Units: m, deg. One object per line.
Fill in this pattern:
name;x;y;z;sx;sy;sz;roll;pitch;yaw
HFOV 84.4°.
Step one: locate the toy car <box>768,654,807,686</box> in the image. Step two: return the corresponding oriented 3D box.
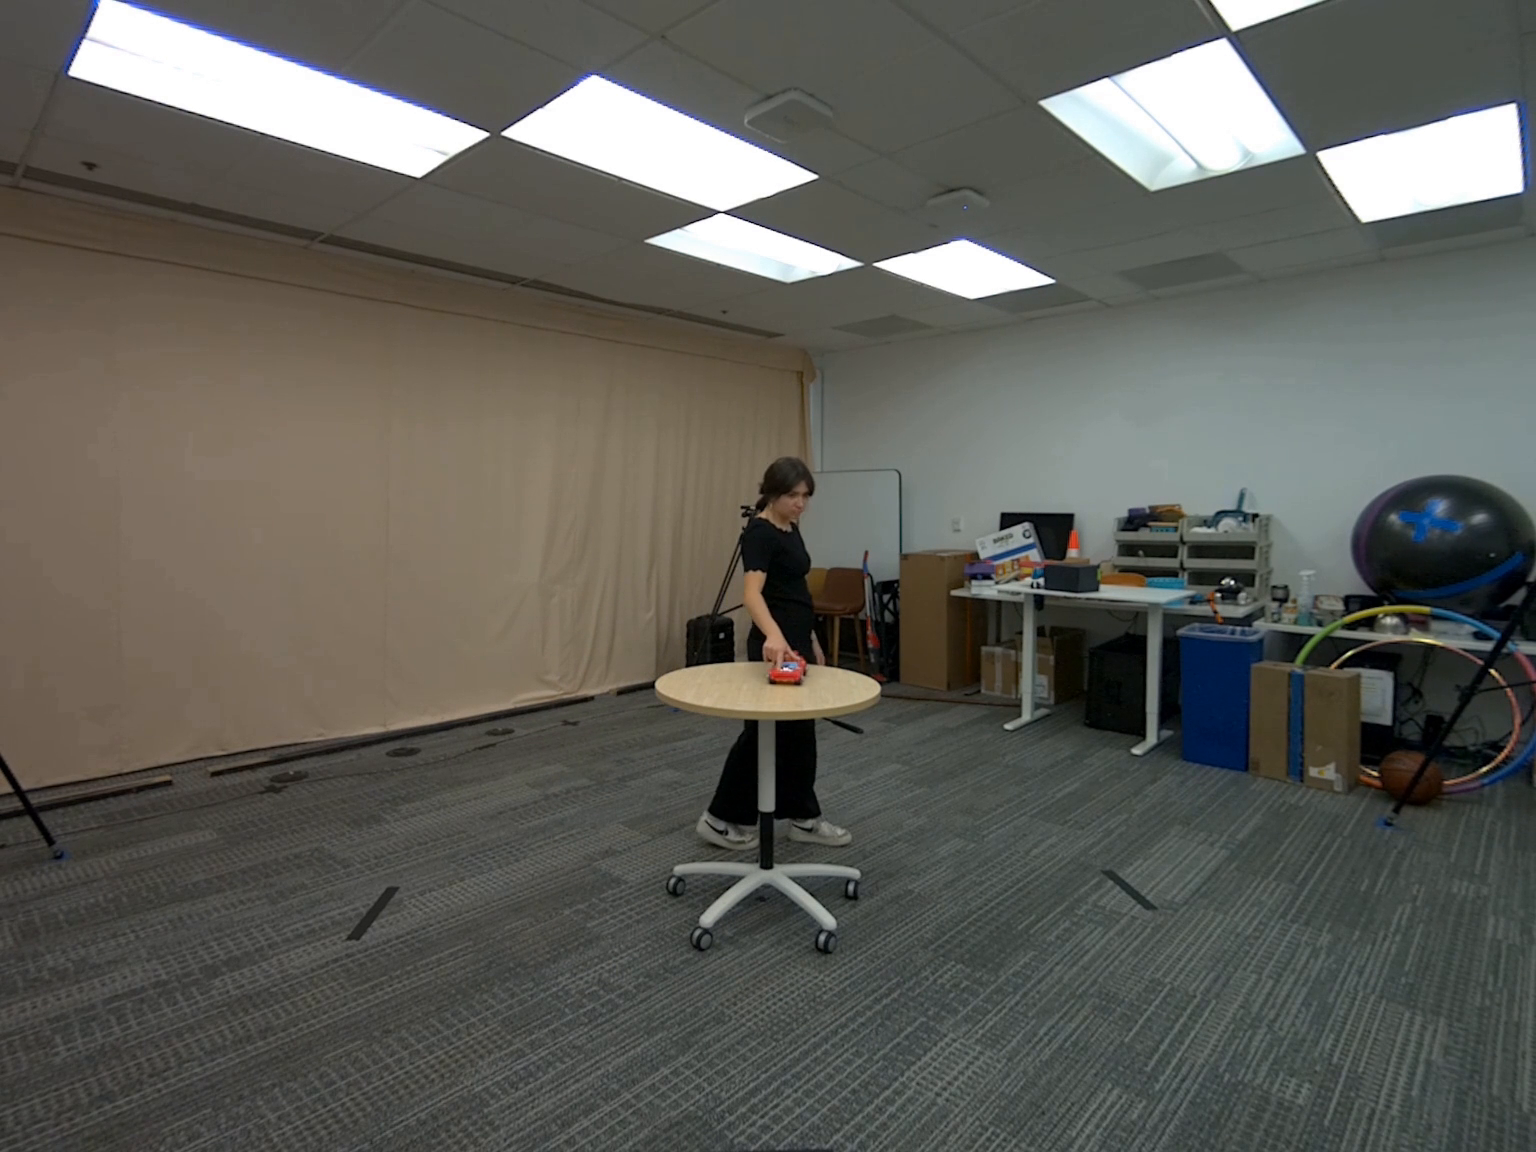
toy car;0.075;0.326;2.961;0.132;0.082;0.254;1;17;9
